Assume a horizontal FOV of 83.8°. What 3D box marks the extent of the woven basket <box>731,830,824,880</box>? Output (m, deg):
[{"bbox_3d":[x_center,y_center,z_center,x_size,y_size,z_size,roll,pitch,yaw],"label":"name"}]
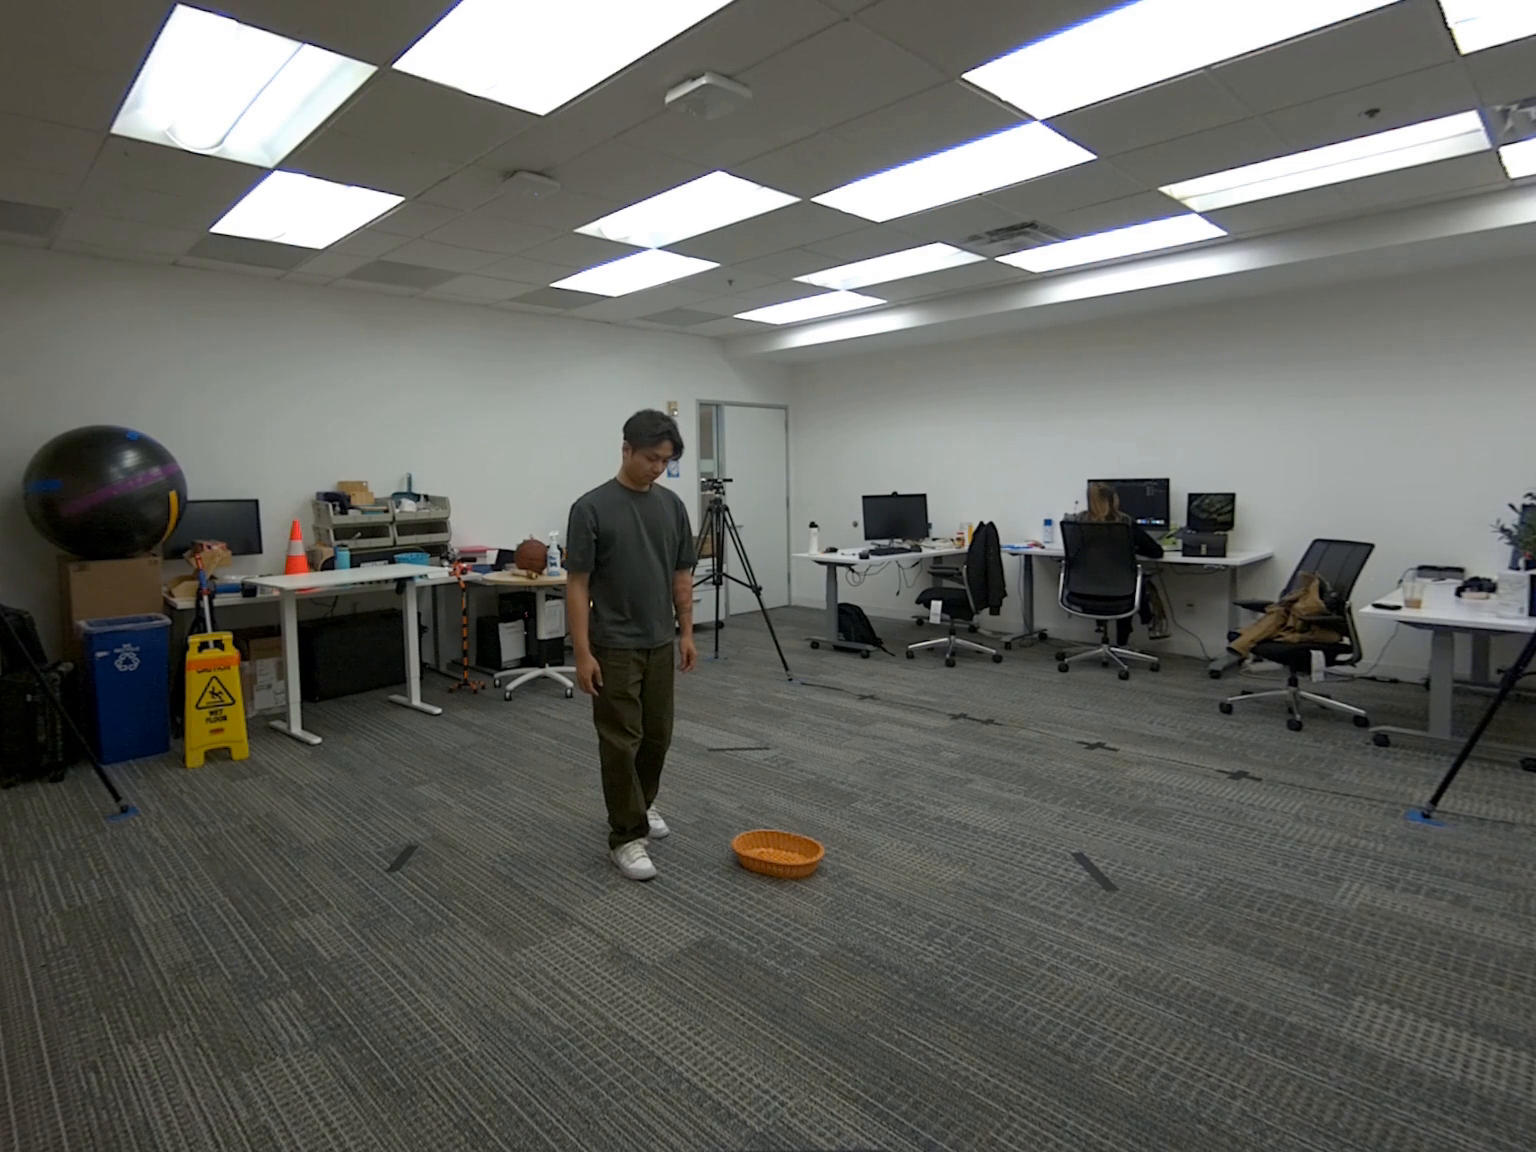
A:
[{"bbox_3d":[0.035,0.998,3.091,0.359,0.073,0.247,2,7,29],"label":"woven basket"}]
